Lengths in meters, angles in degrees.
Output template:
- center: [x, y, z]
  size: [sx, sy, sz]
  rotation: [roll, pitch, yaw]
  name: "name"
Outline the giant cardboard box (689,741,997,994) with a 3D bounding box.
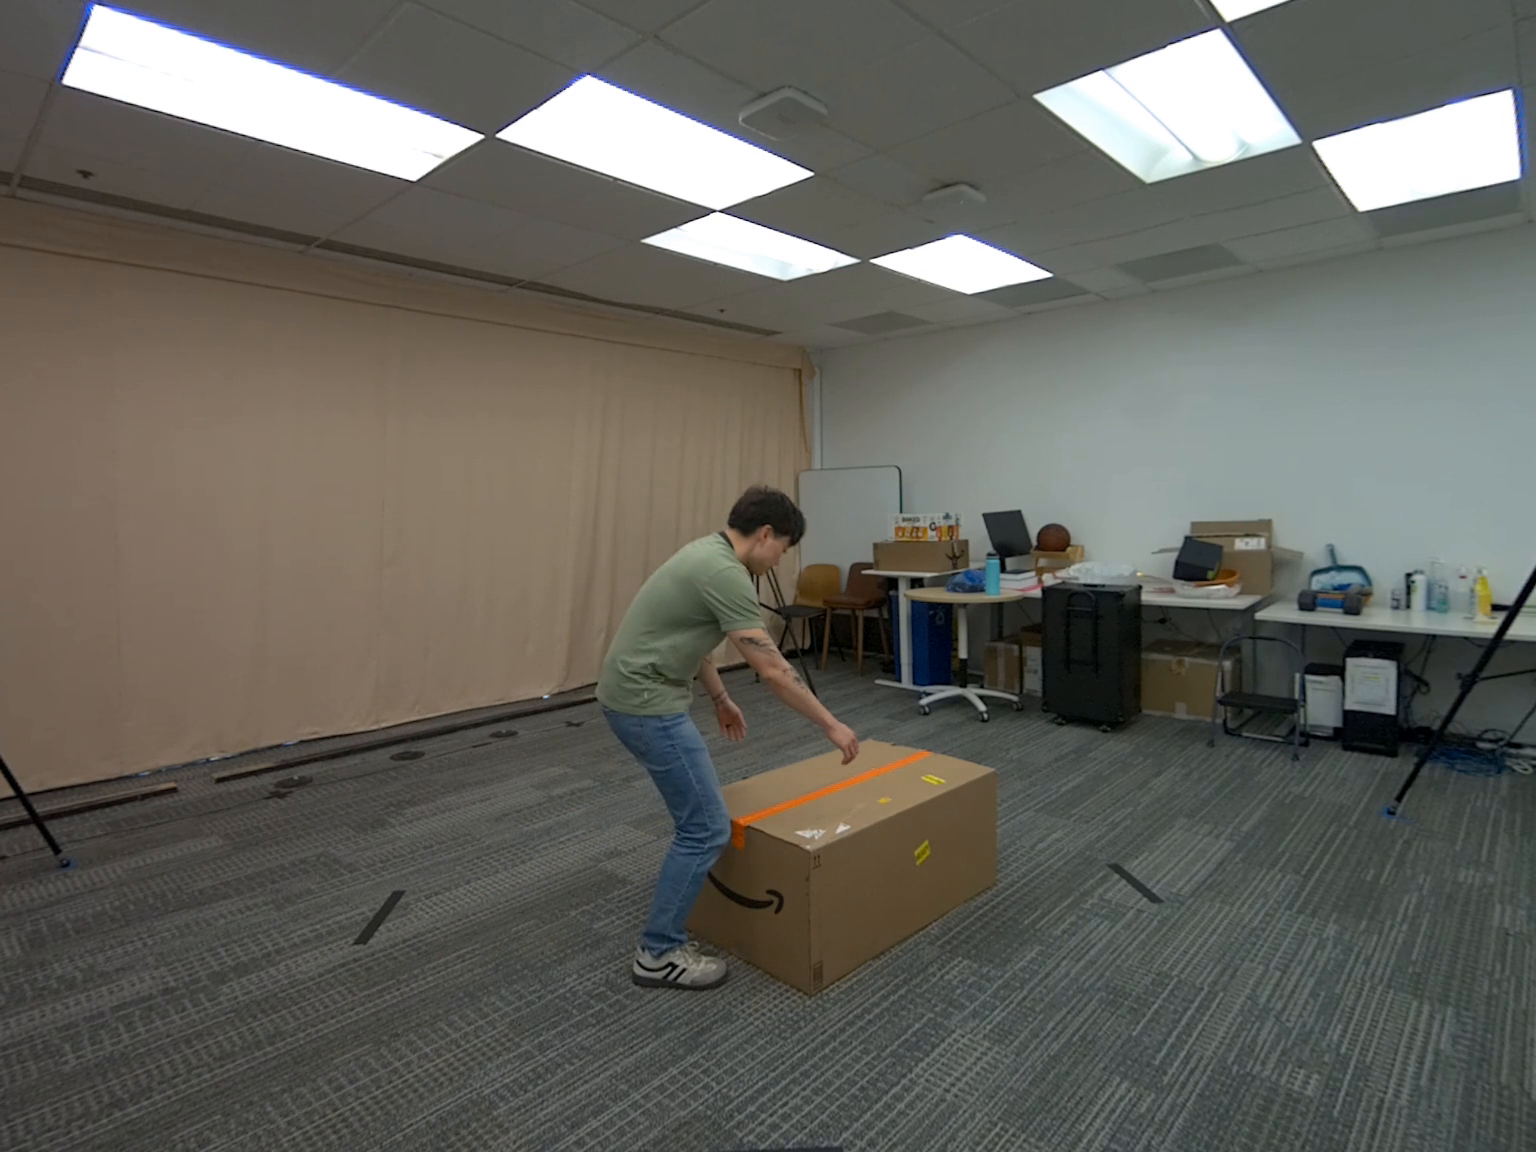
- center: [0.275, 0.929, 2.912]
  size: [0.995, 0.425, 0.597]
  rotation: [-5, 7, -44]
  name: "giant cardboard box"
